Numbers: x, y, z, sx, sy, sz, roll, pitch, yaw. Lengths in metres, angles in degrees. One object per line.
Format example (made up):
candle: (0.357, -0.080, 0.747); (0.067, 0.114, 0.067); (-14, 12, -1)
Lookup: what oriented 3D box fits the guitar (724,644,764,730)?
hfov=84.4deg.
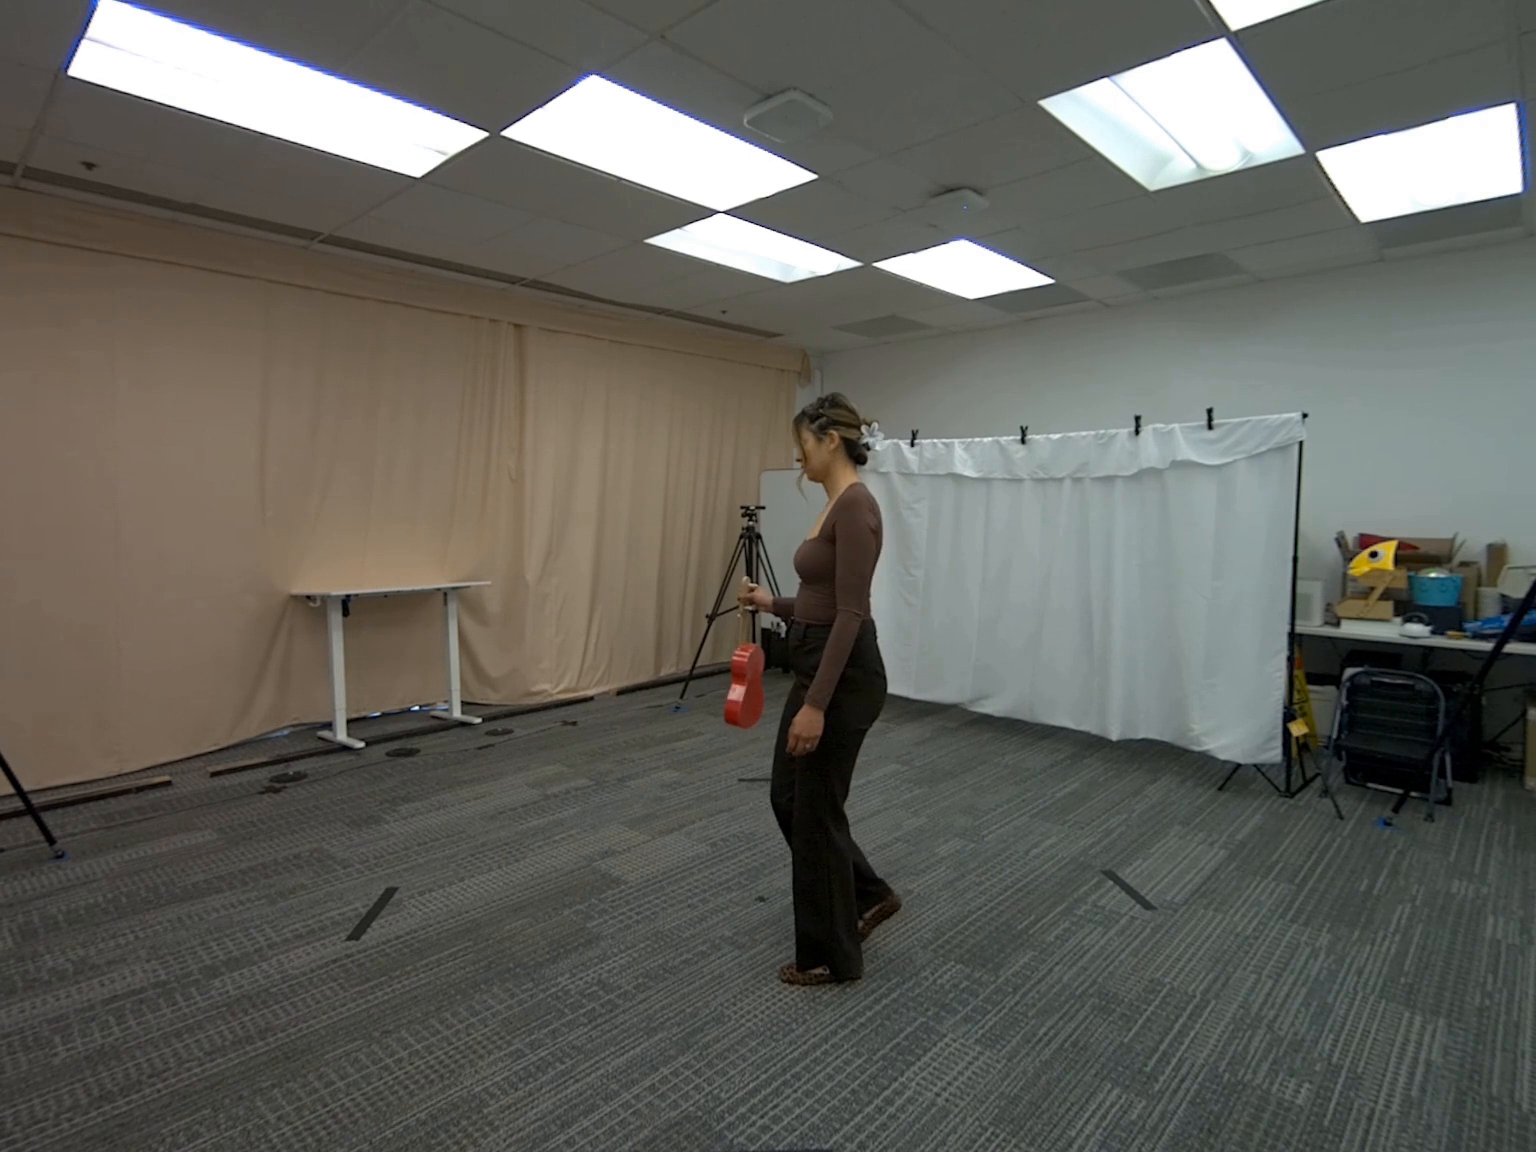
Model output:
guitar: (-0.075, 0.262, 2.810); (0.072, 0.494, 0.189); (7, 13, 23)
